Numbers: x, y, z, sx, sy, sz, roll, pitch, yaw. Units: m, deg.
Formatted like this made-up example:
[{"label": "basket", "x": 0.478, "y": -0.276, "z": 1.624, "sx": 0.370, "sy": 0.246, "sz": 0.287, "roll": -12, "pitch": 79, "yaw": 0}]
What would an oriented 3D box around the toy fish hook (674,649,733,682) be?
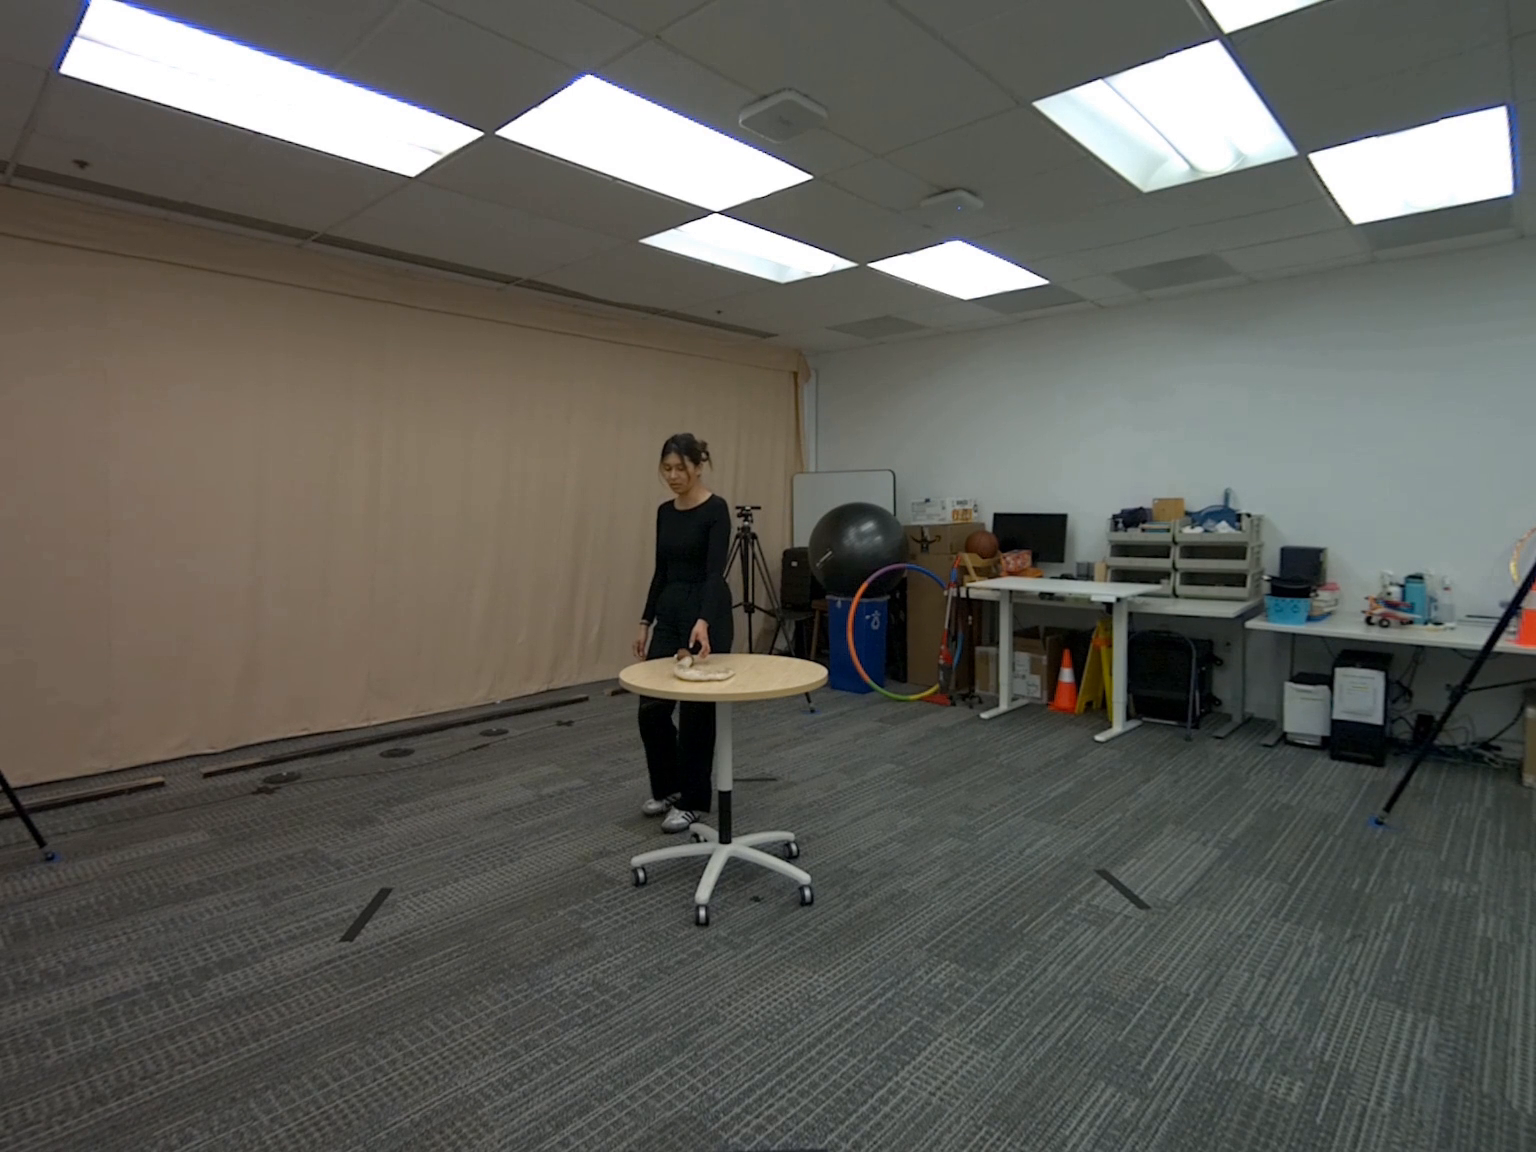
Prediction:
[{"label": "toy fish hook", "x": -0.243, "y": 0.336, "z": 3.163, "sx": 0.223, "sy": 0.048, "sz": 0.512, "roll": 6, "pitch": 5, "yaw": -8}]
